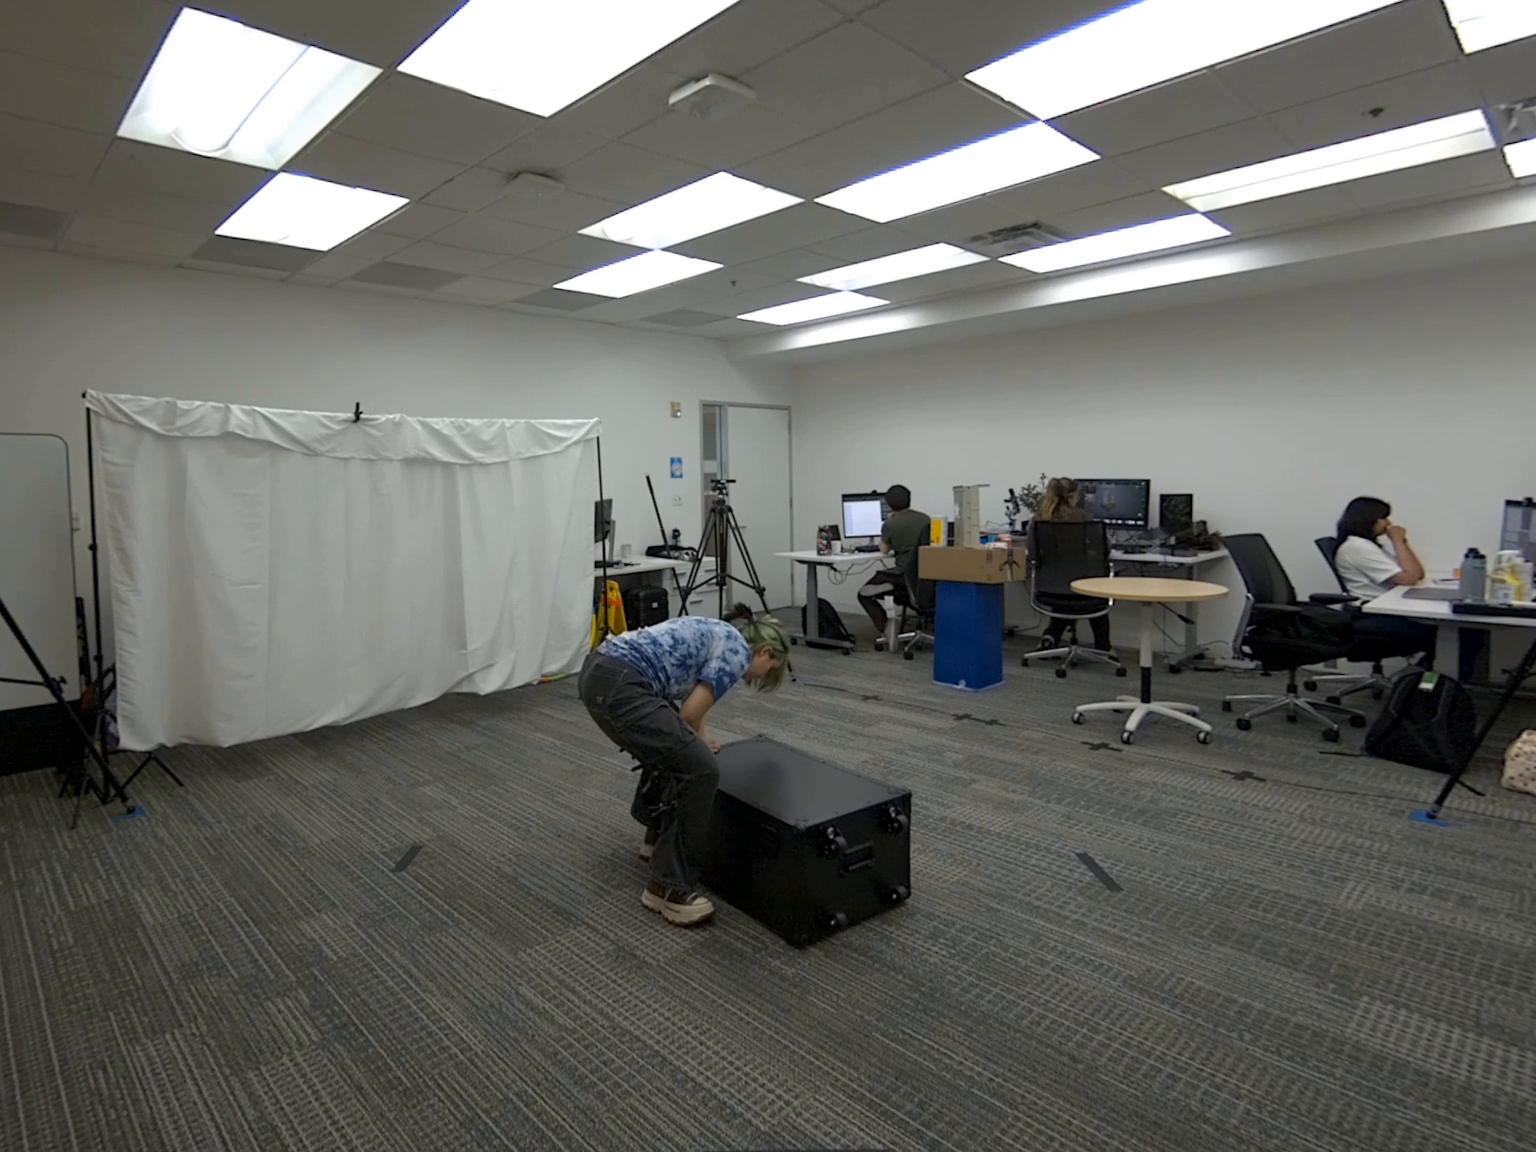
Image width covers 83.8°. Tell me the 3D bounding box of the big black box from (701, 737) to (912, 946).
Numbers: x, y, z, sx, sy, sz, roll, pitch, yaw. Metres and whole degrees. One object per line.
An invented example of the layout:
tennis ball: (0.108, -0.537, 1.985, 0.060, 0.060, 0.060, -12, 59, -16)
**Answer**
big black box: (0.057, 0.877, 2.933, 0.508, 0.395, 0.887, -5, 7, -37)
